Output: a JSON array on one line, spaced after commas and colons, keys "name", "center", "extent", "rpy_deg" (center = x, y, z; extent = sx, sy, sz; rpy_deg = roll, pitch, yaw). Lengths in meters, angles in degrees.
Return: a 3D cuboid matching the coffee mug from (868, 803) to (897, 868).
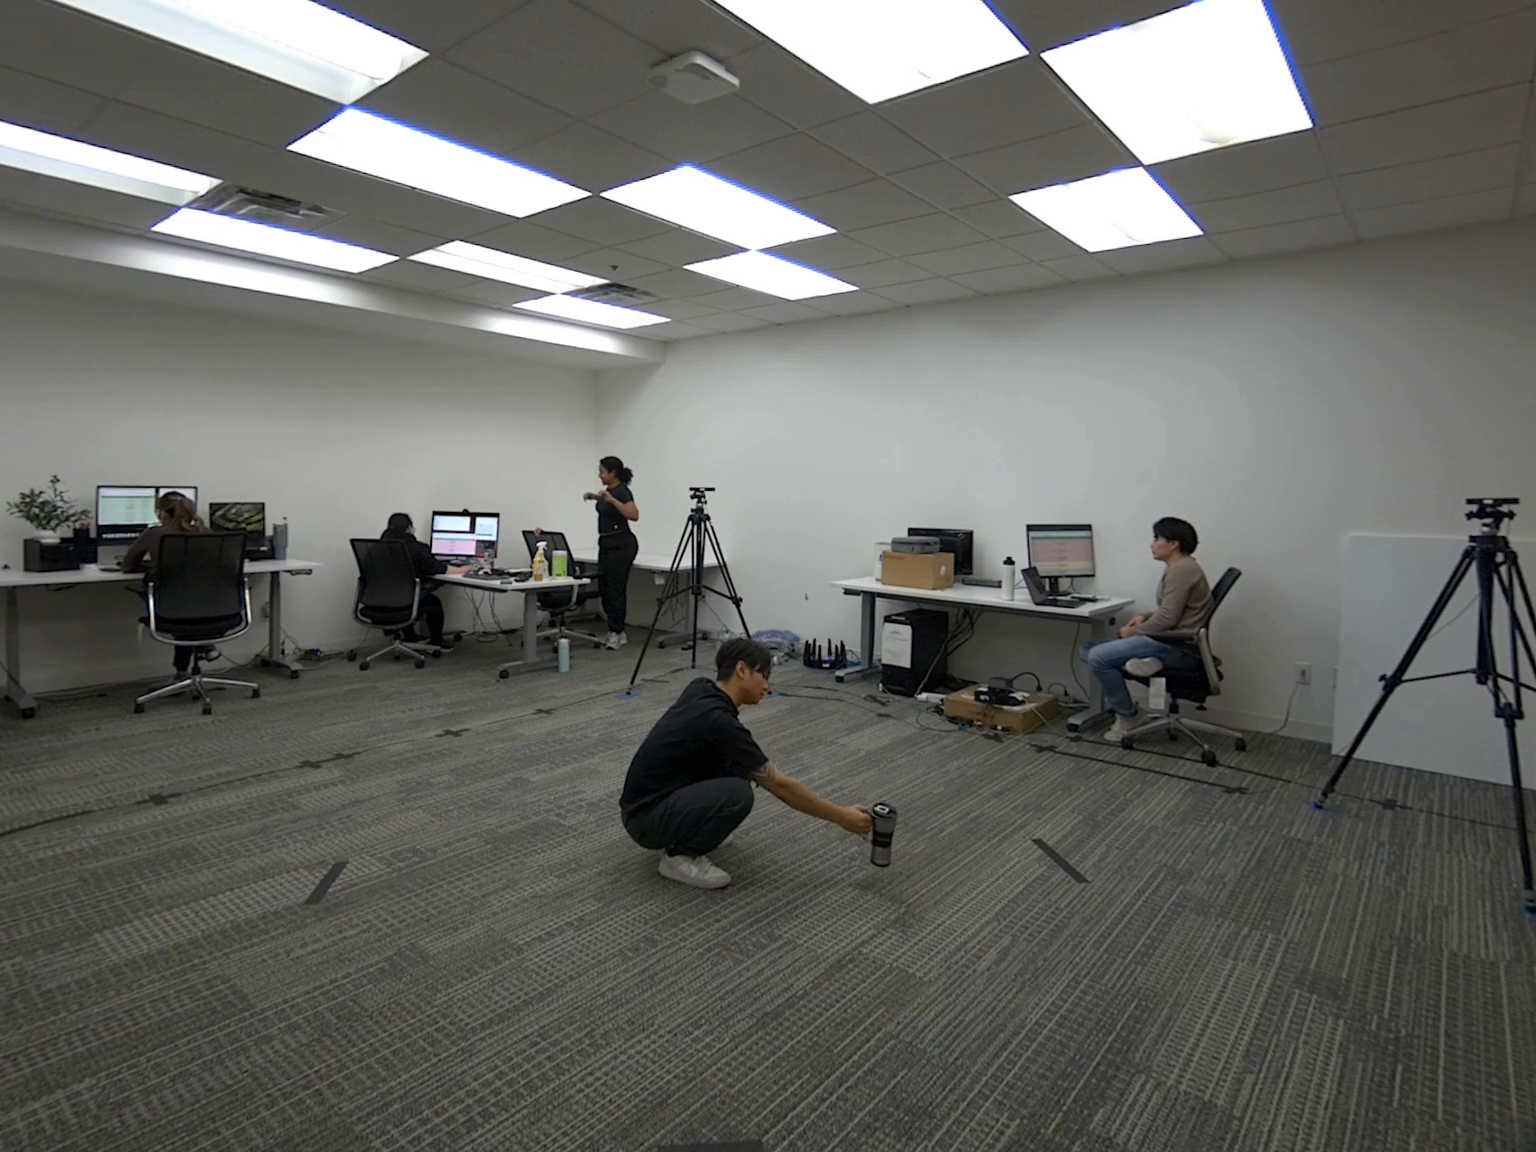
[{"name": "coffee mug", "center": [0.386, 0.901, 3.000], "extent": [0.126, 0.200, 0.086], "rpy_deg": [15, 18, 39]}]
